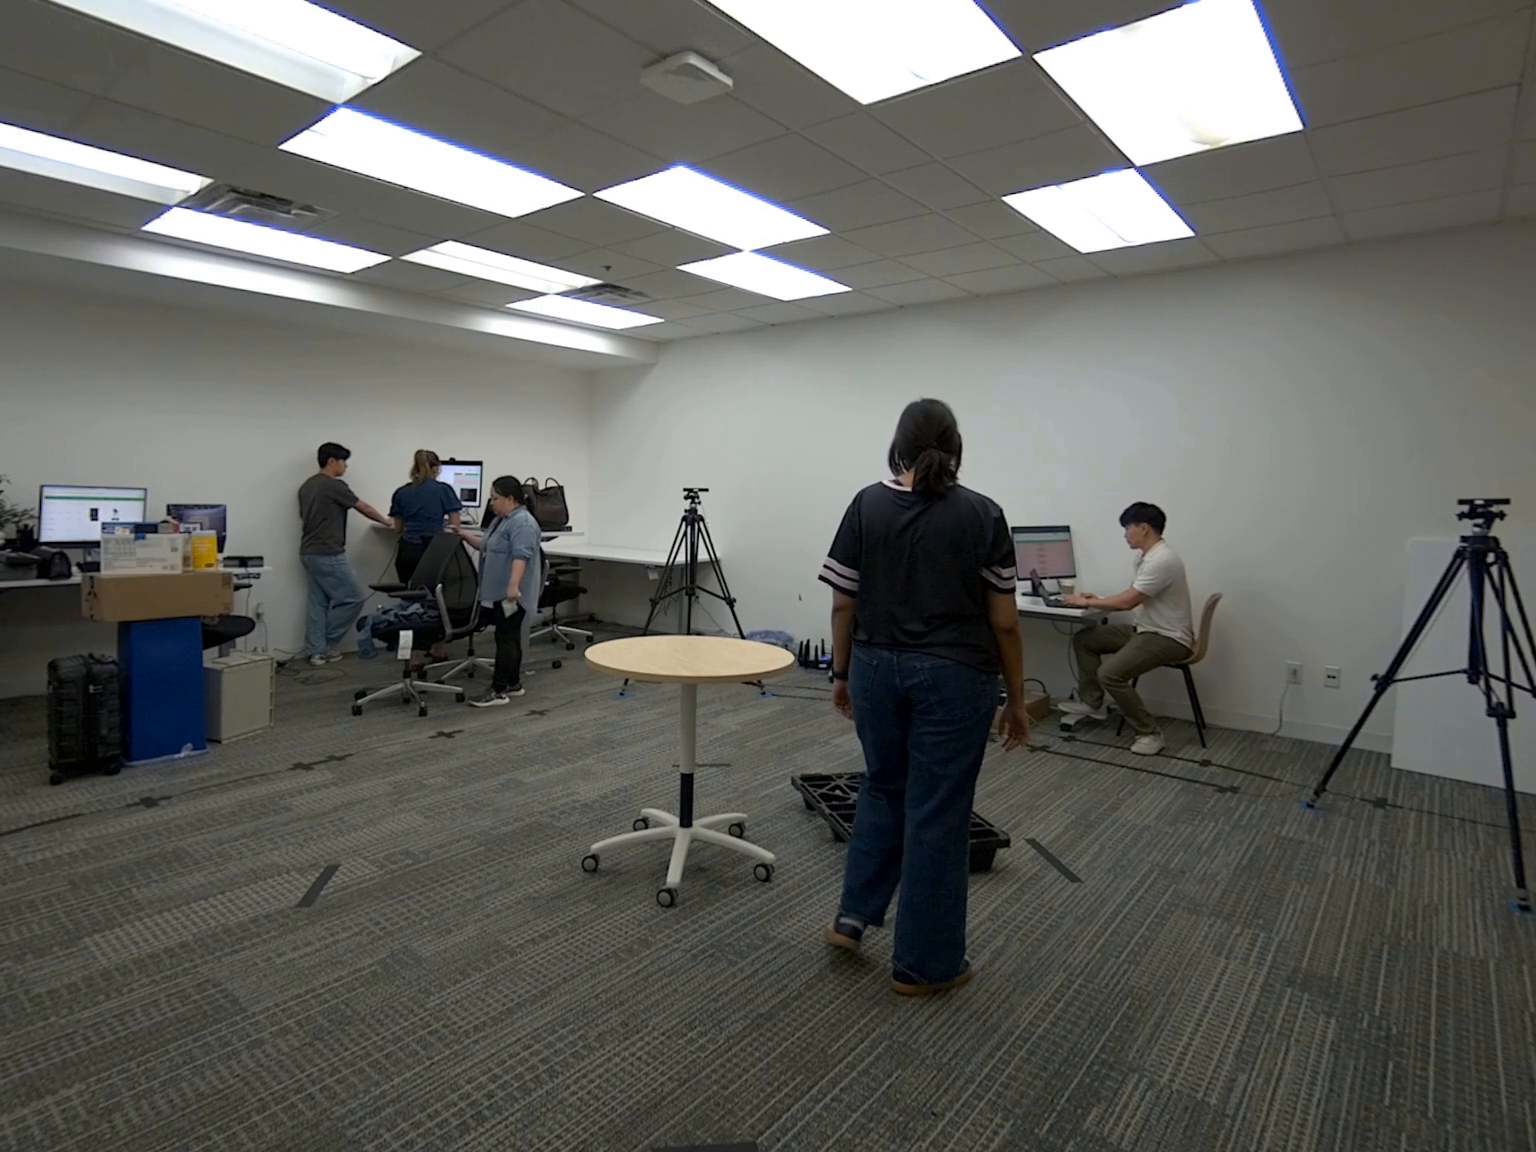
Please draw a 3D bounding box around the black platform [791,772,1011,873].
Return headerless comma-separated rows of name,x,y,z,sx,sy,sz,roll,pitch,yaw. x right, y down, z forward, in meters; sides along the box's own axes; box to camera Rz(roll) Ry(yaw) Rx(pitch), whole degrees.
black platform,0.486,0.982,3.444,0.596,0.143,0.822,-1,6,-16
